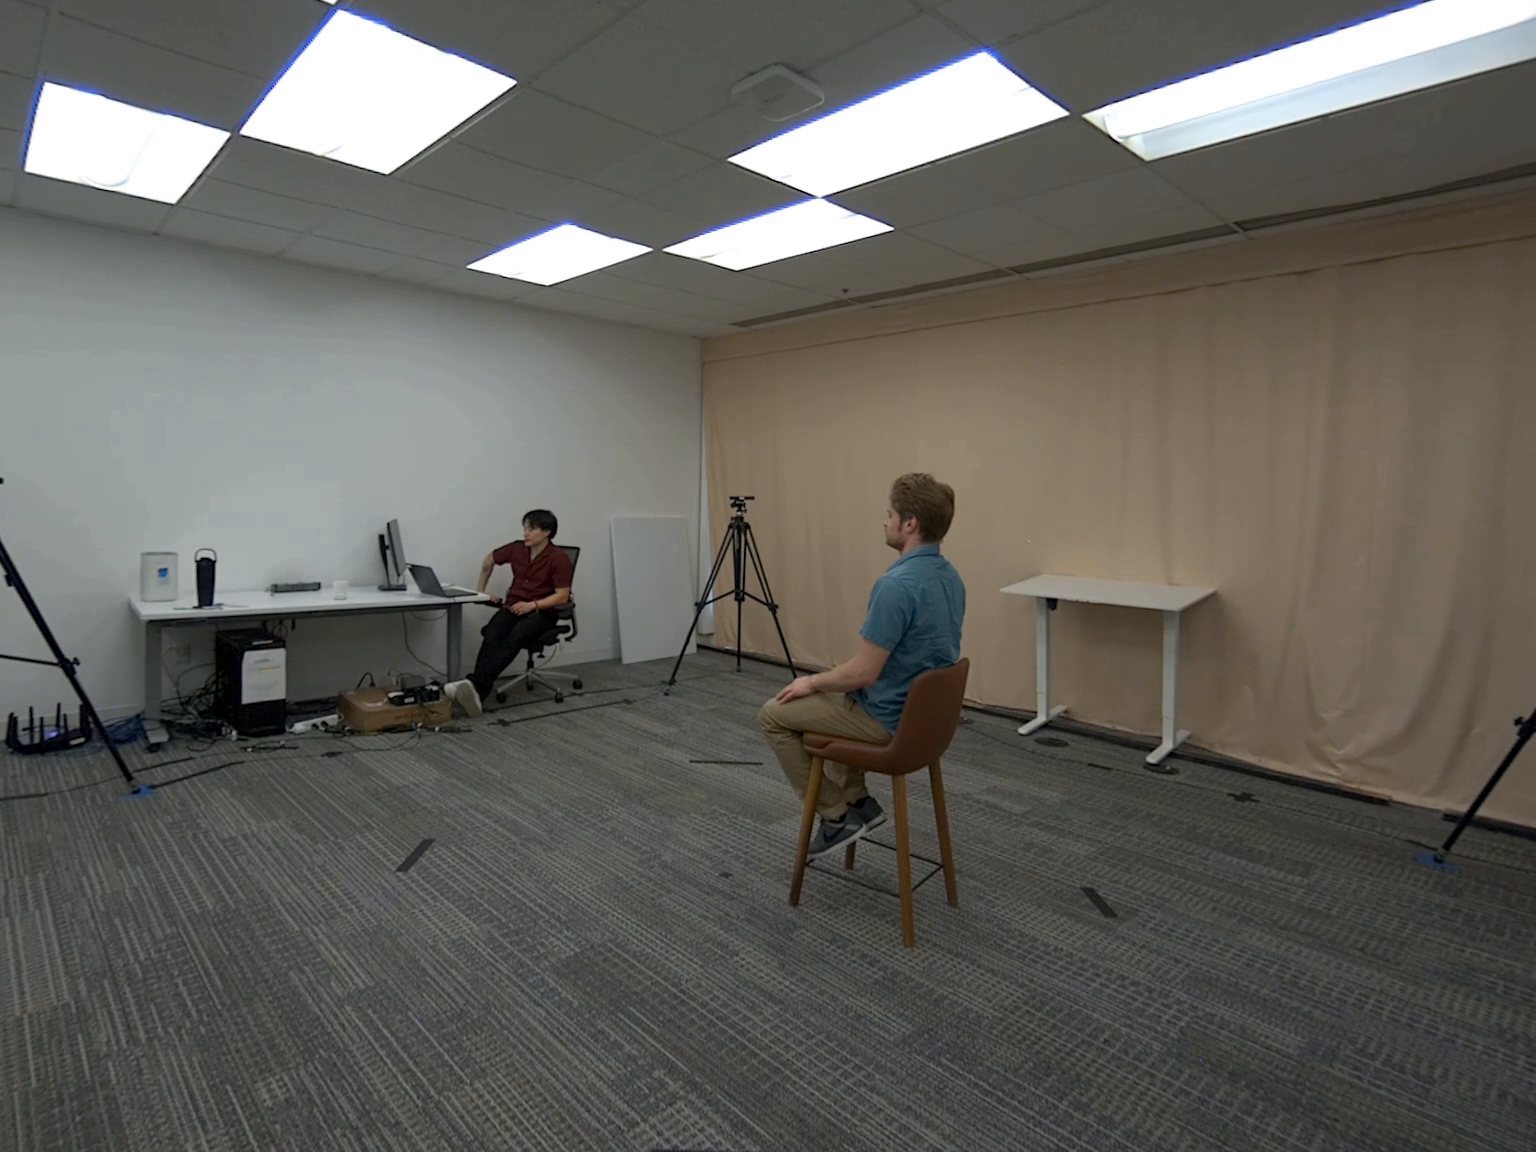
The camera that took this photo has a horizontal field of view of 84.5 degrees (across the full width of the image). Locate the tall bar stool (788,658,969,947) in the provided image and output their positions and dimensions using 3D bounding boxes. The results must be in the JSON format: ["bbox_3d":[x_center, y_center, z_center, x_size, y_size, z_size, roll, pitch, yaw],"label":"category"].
[{"bbox_3d":[0.385,0.700,2.872,0.479,0.886,0.447,7,7,37],"label":"tall bar stool"}]
